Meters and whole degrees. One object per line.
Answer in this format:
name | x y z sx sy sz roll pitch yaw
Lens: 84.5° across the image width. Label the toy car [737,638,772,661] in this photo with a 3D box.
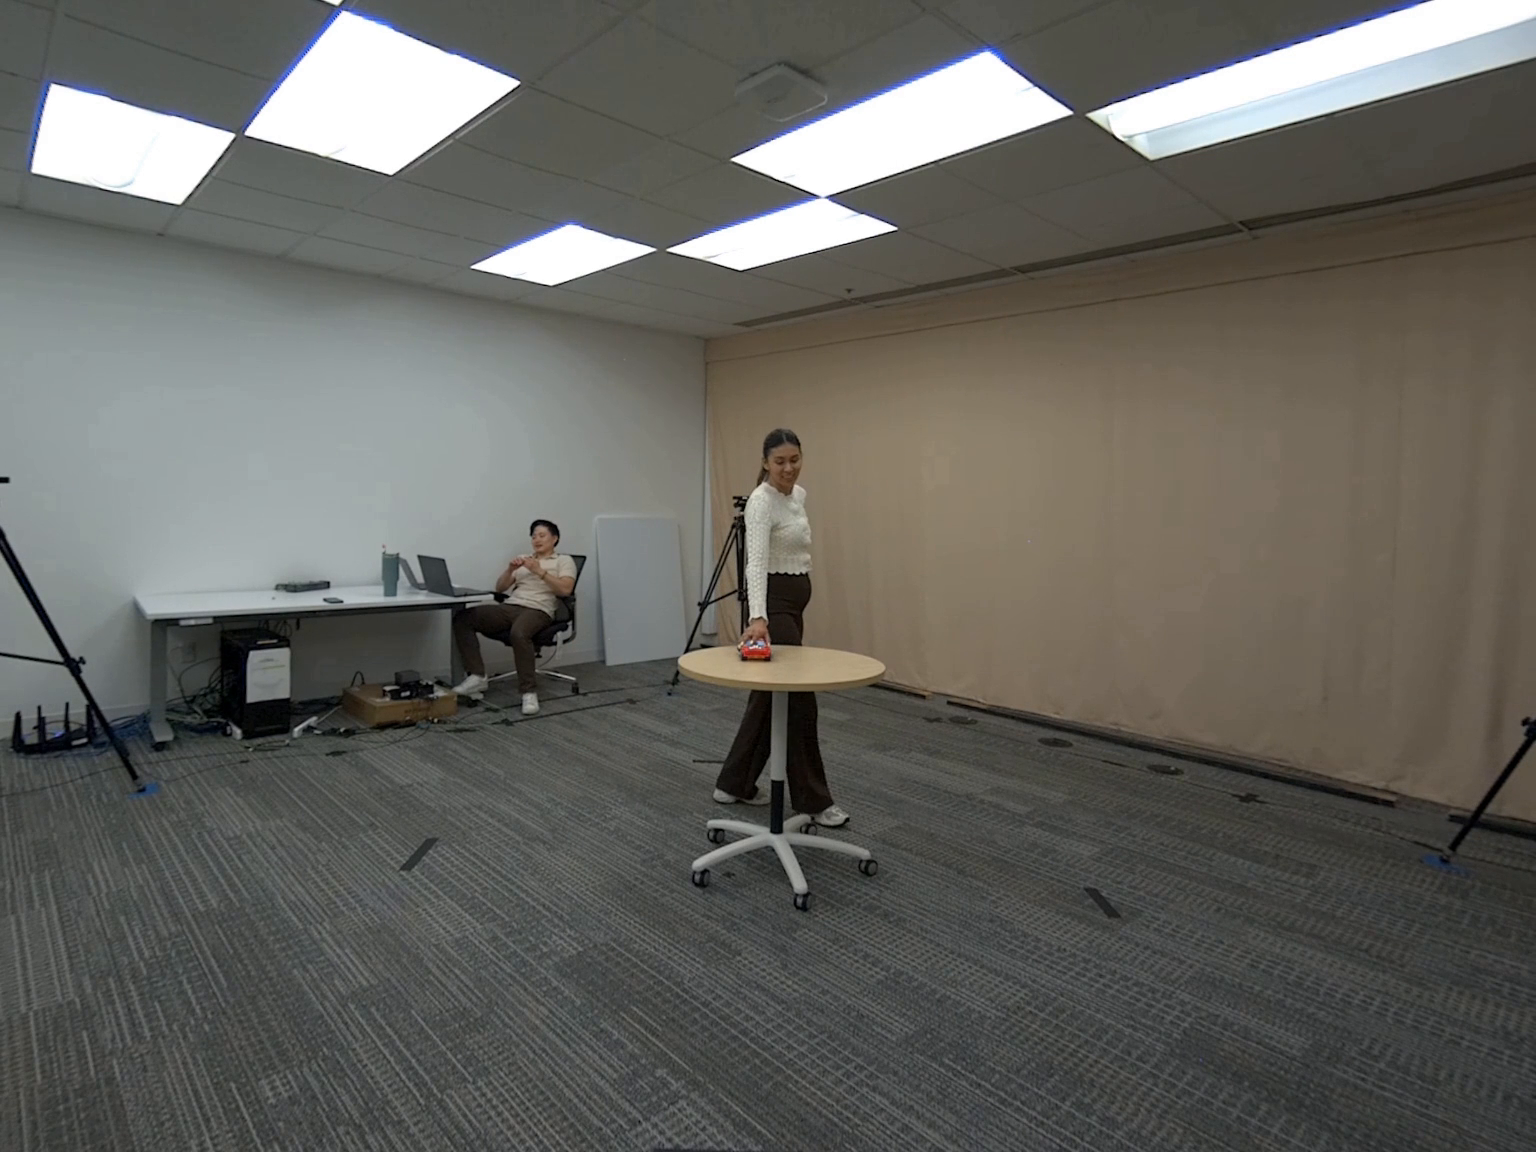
toy car | -0.065 0.277 3.240 0.130 0.082 0.258 0 15 -3
